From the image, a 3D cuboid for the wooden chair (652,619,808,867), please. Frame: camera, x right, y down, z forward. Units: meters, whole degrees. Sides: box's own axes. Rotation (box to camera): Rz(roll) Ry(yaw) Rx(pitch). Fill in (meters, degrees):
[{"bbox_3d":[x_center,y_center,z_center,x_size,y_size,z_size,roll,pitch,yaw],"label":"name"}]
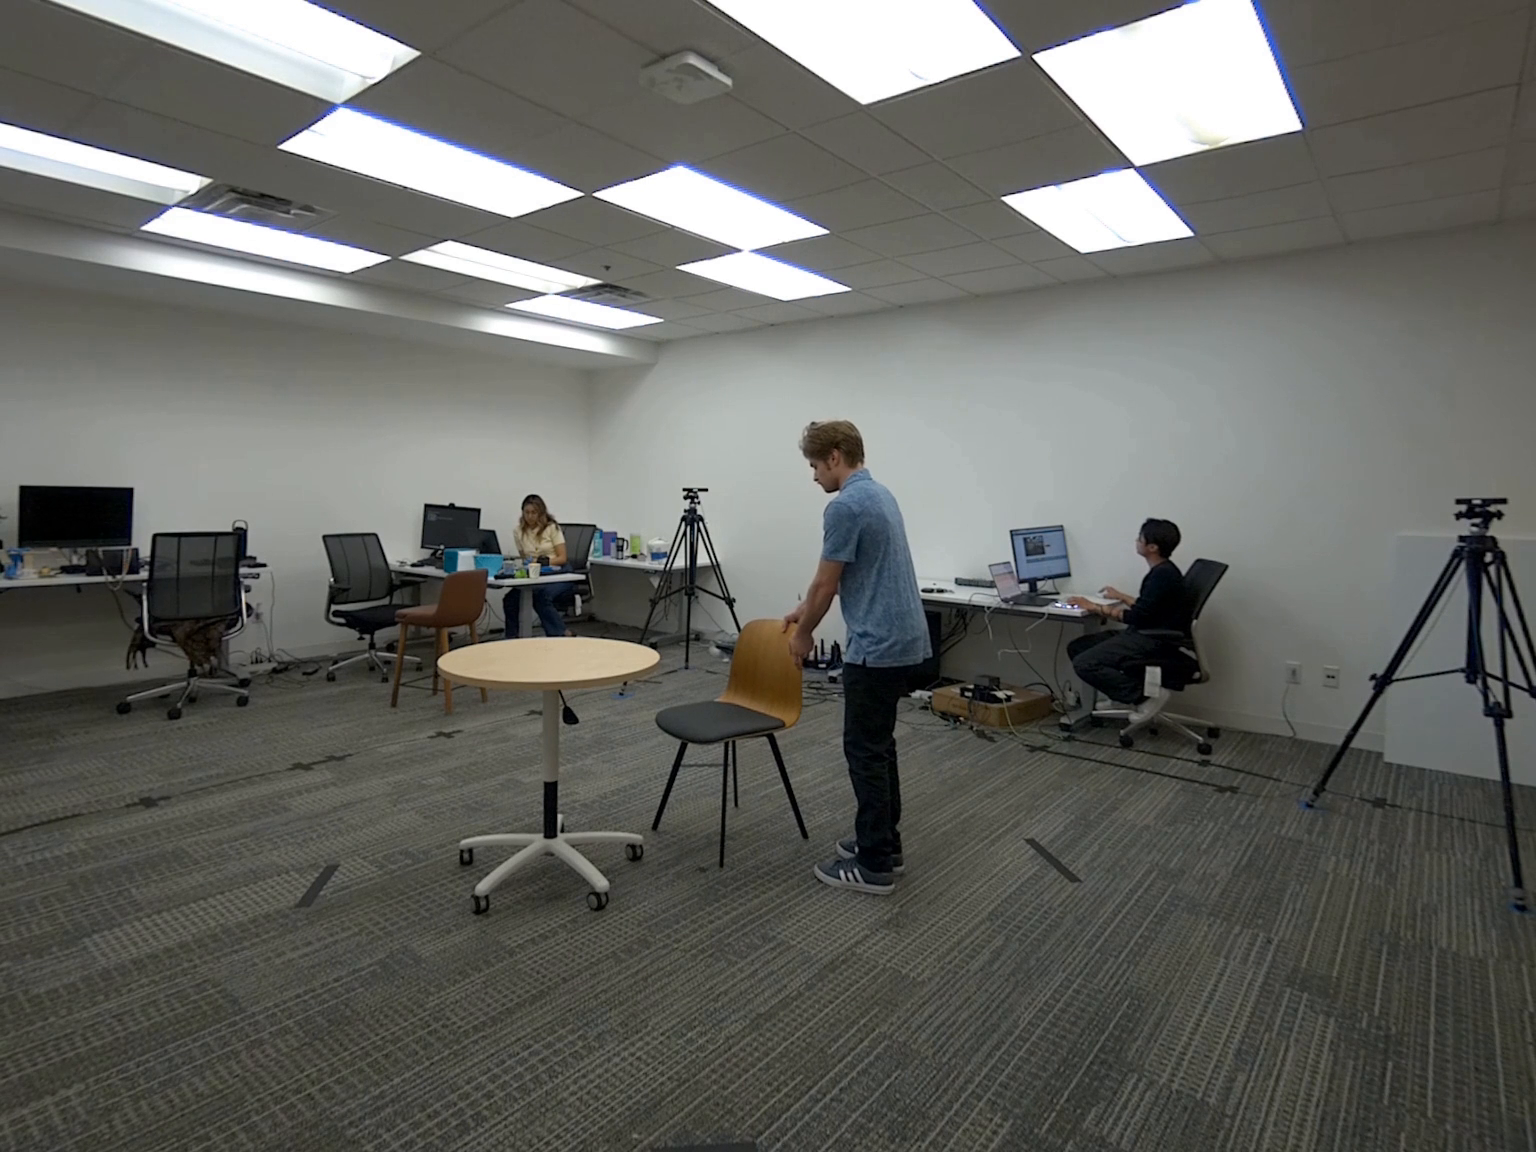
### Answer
[{"bbox_3d":[-0.161,0.615,3.403,0.506,0.877,0.494,4,1,-41],"label":"wooden chair"}]
